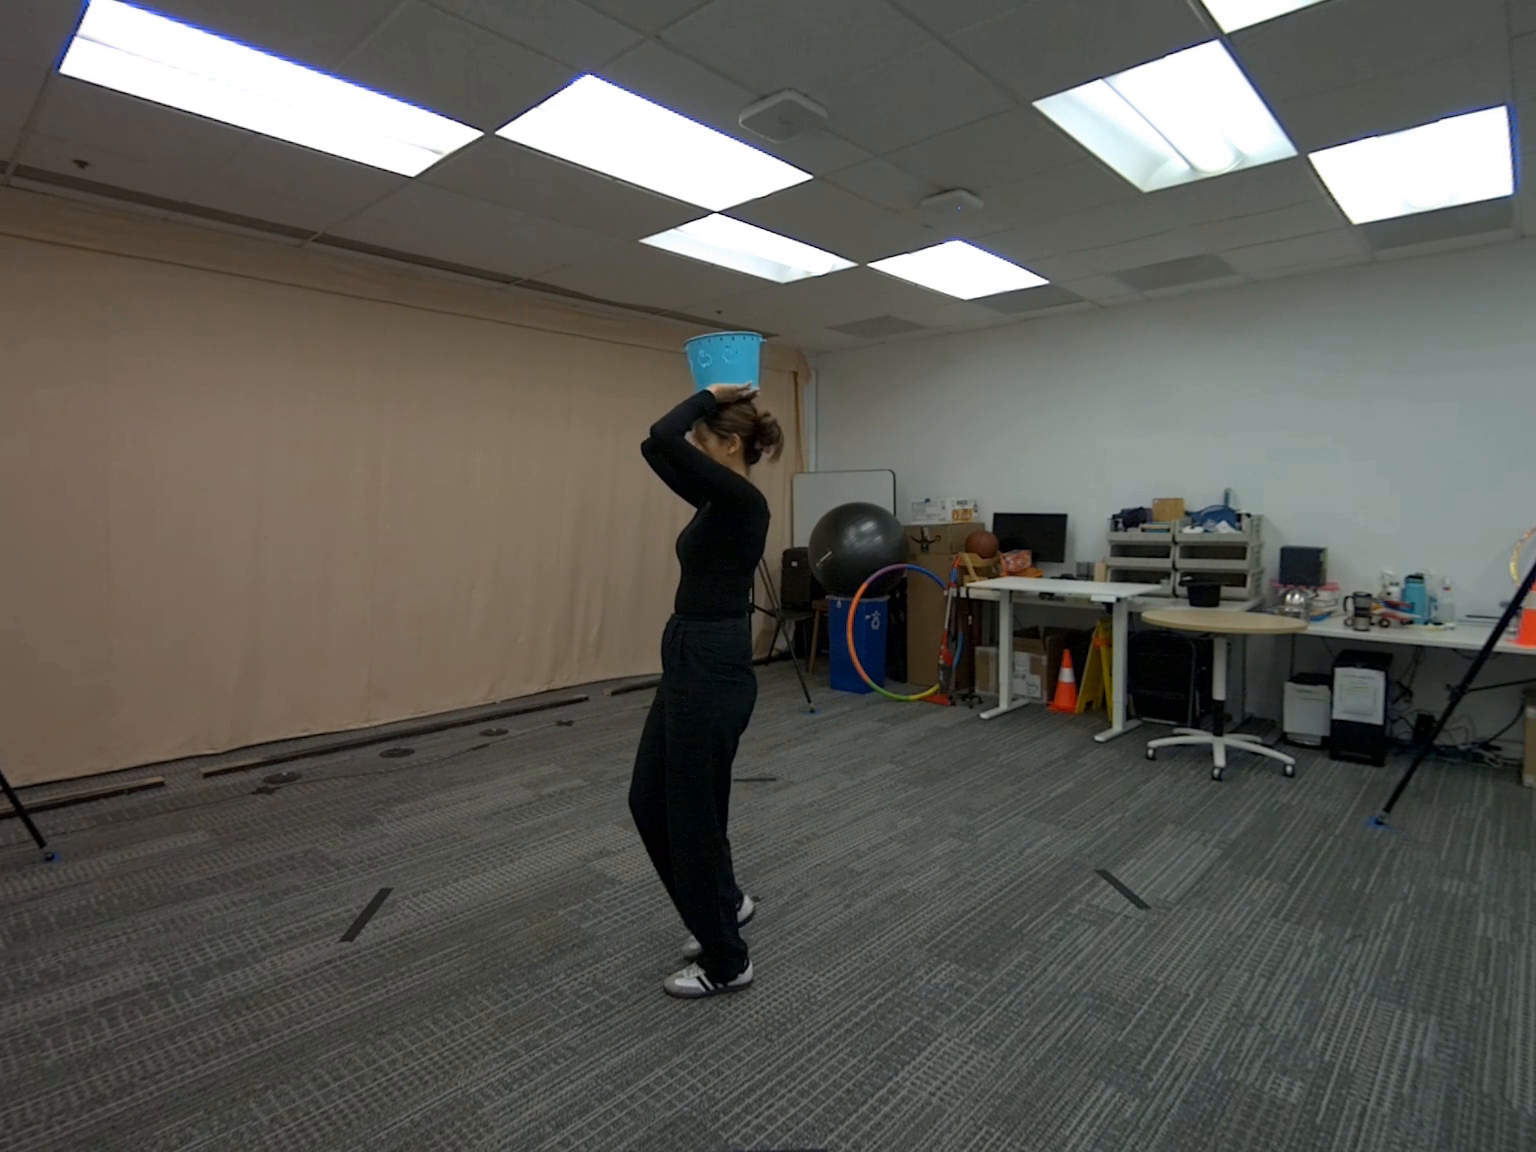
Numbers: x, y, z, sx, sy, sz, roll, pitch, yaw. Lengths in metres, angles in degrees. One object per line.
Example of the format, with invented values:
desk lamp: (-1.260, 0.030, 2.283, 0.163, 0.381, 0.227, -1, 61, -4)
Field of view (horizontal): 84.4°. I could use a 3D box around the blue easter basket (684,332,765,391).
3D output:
blue easter basket: (-0.117, -0.603, 2.428, 0.243, 0.155, 0.244, -6, 3, -2)
